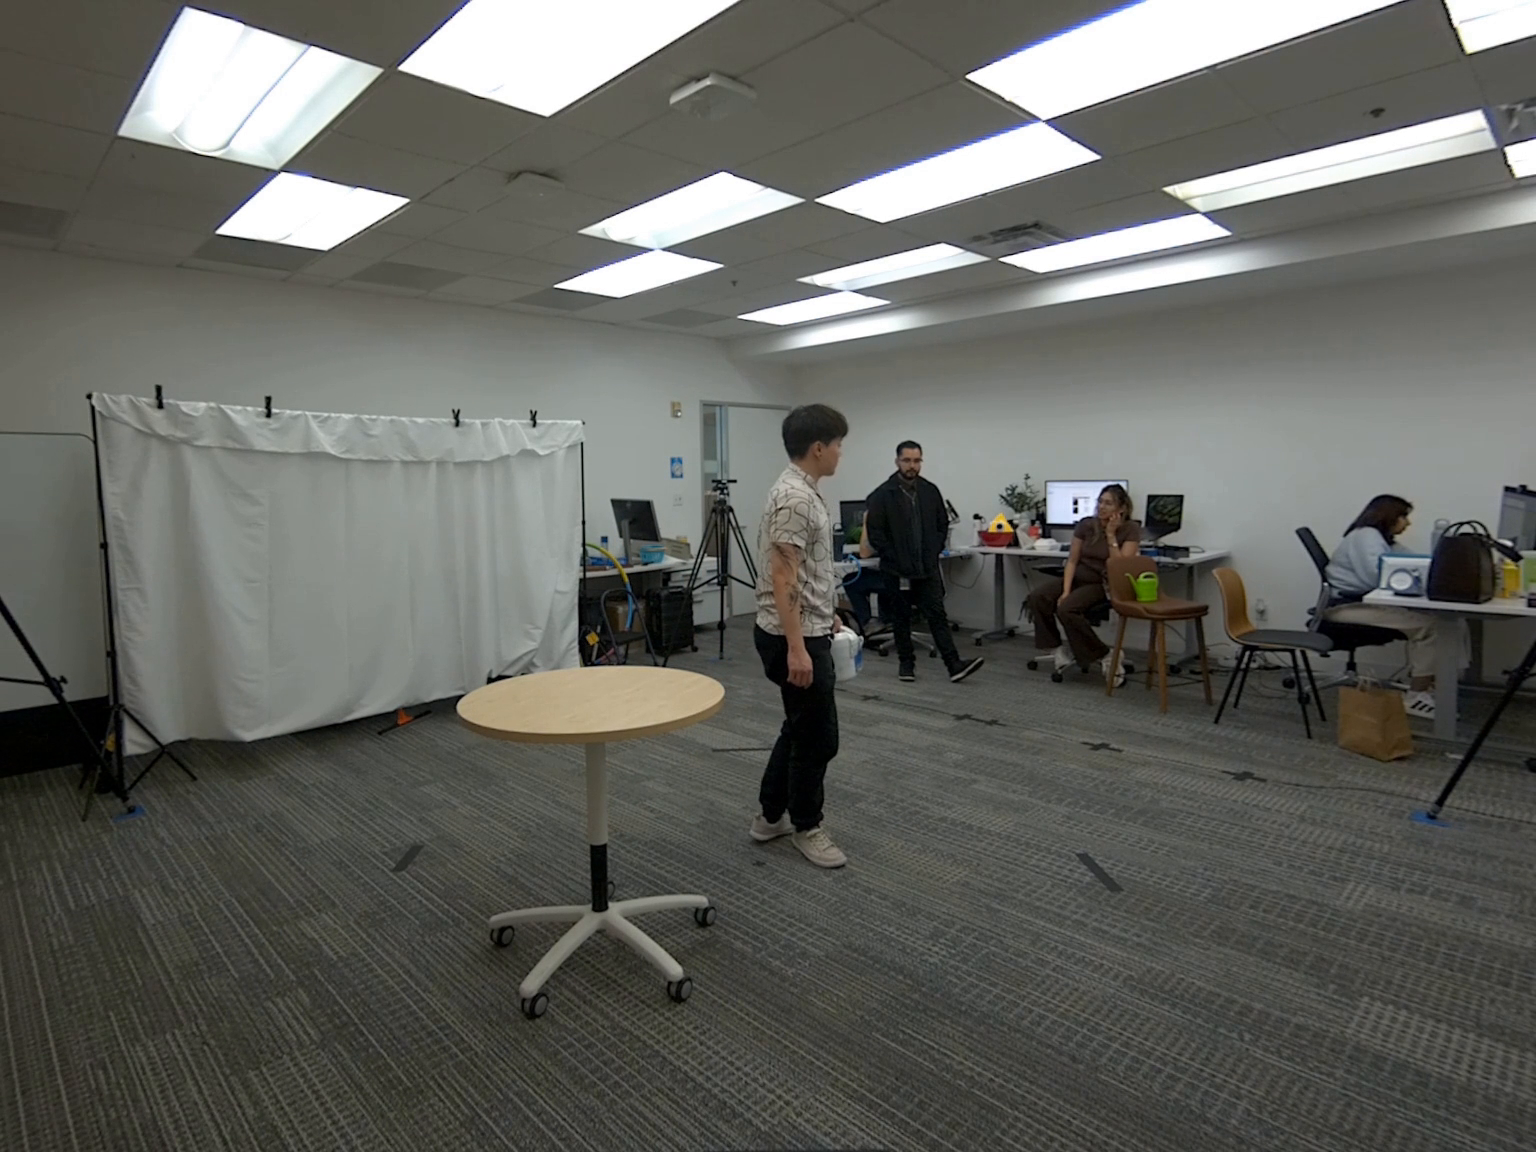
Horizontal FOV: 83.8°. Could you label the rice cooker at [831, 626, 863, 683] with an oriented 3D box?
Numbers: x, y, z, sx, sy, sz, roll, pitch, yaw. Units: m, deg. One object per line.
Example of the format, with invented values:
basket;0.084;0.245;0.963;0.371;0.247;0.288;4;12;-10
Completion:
rice cooker;0.259;0.307;3.486;0.226;0.231;0.213;1;9;30
